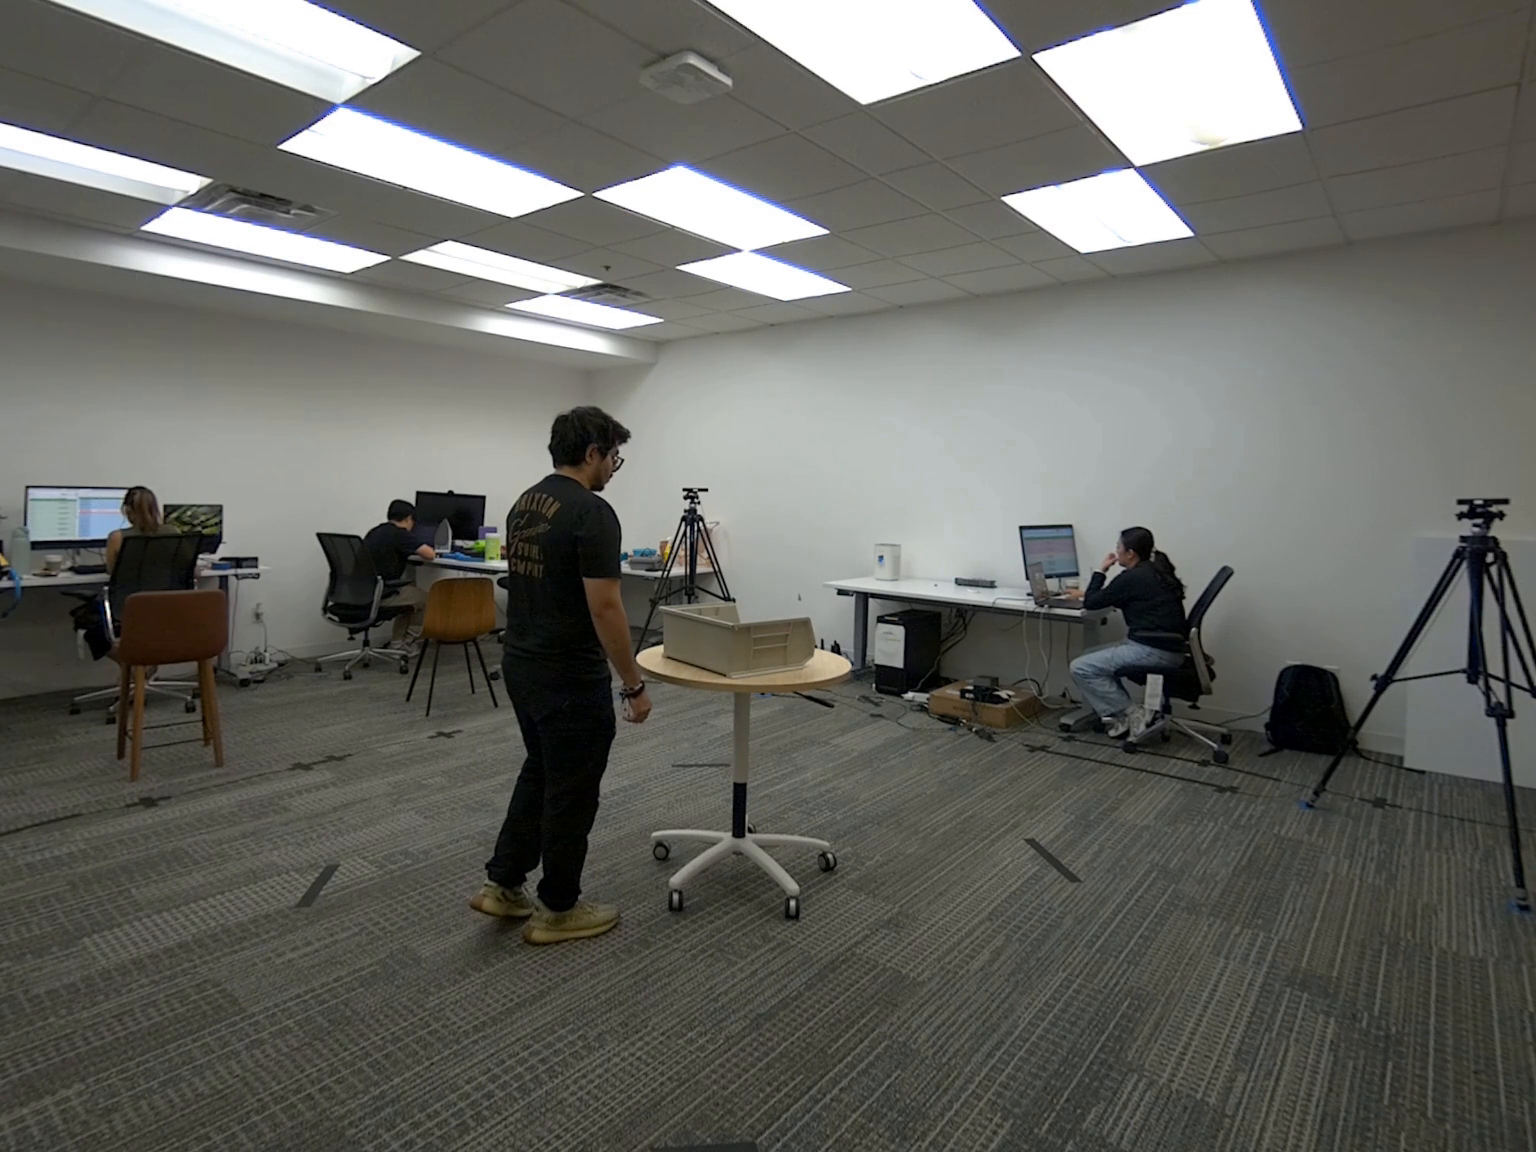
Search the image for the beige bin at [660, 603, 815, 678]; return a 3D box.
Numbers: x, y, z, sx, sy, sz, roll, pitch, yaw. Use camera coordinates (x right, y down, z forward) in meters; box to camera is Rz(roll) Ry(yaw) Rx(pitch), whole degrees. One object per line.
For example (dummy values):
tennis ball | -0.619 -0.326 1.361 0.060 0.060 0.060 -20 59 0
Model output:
beige bin | -0.121 0.211 2.984 0.366 0.188 0.437 -4 8 -39
